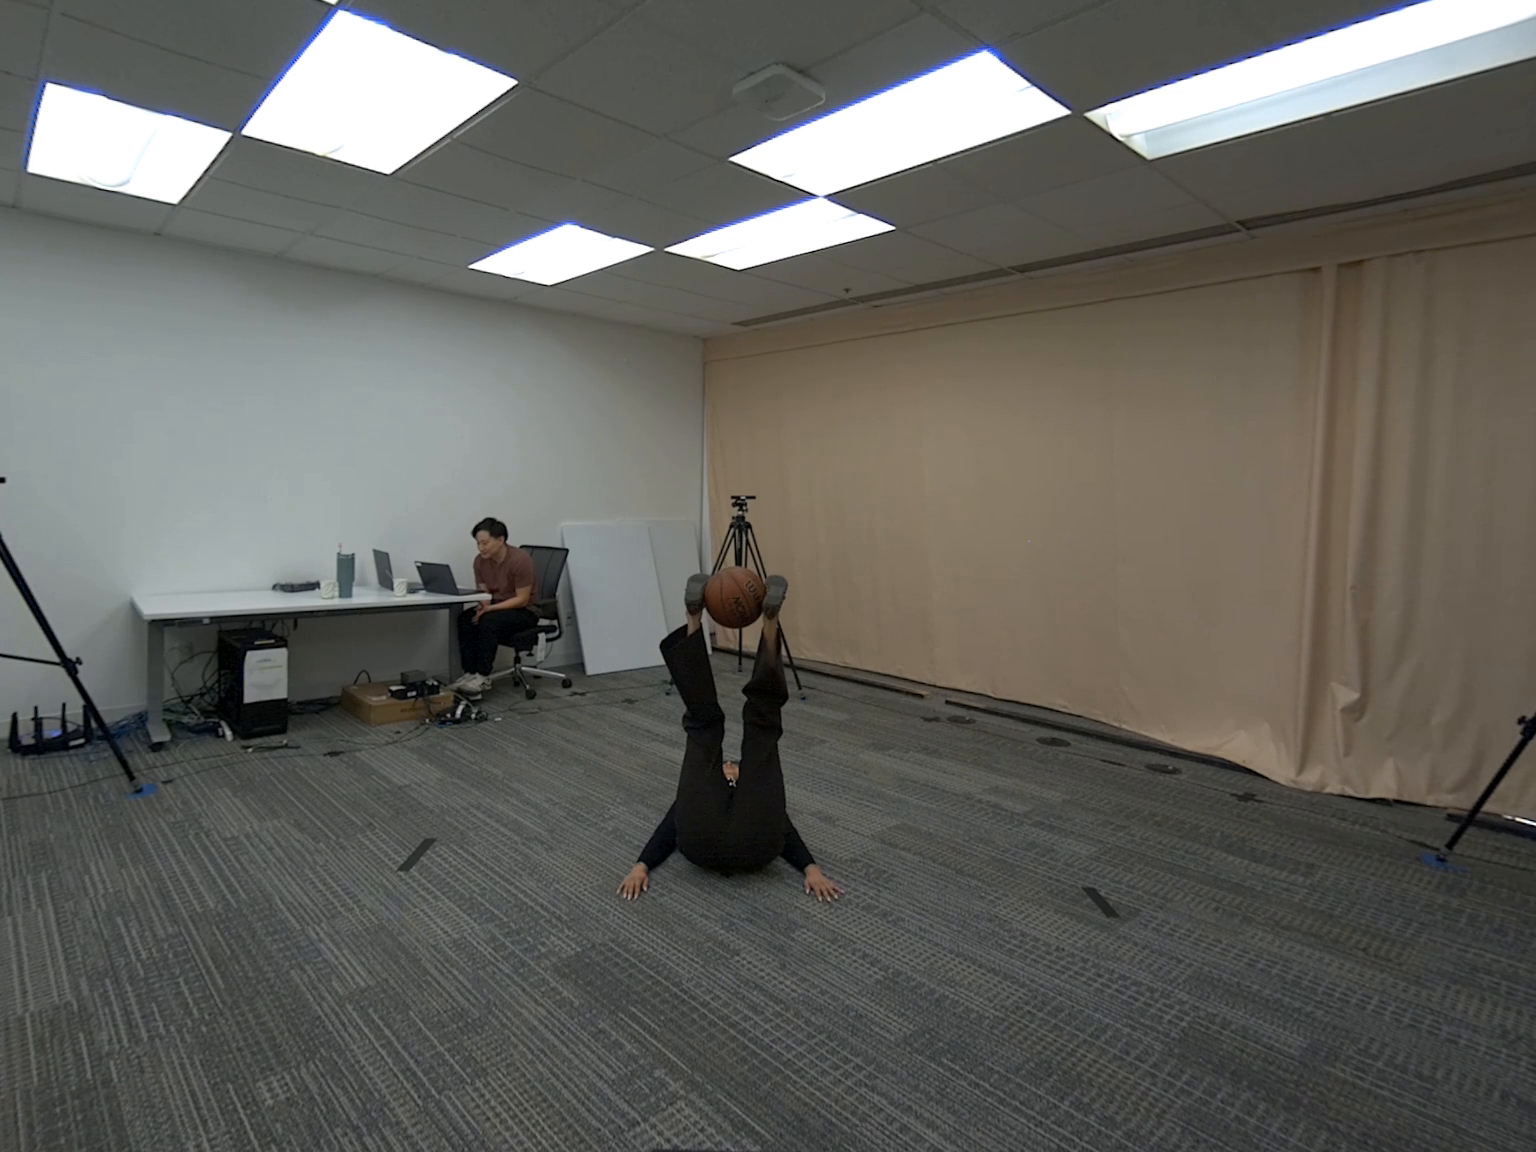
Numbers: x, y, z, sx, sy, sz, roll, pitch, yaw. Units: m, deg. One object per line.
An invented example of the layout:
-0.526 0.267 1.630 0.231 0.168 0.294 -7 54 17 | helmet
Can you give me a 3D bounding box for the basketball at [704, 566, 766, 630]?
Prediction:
-0.133 0.092 3.135 0.235 0.235 0.237 4 5 -2 | basketball
